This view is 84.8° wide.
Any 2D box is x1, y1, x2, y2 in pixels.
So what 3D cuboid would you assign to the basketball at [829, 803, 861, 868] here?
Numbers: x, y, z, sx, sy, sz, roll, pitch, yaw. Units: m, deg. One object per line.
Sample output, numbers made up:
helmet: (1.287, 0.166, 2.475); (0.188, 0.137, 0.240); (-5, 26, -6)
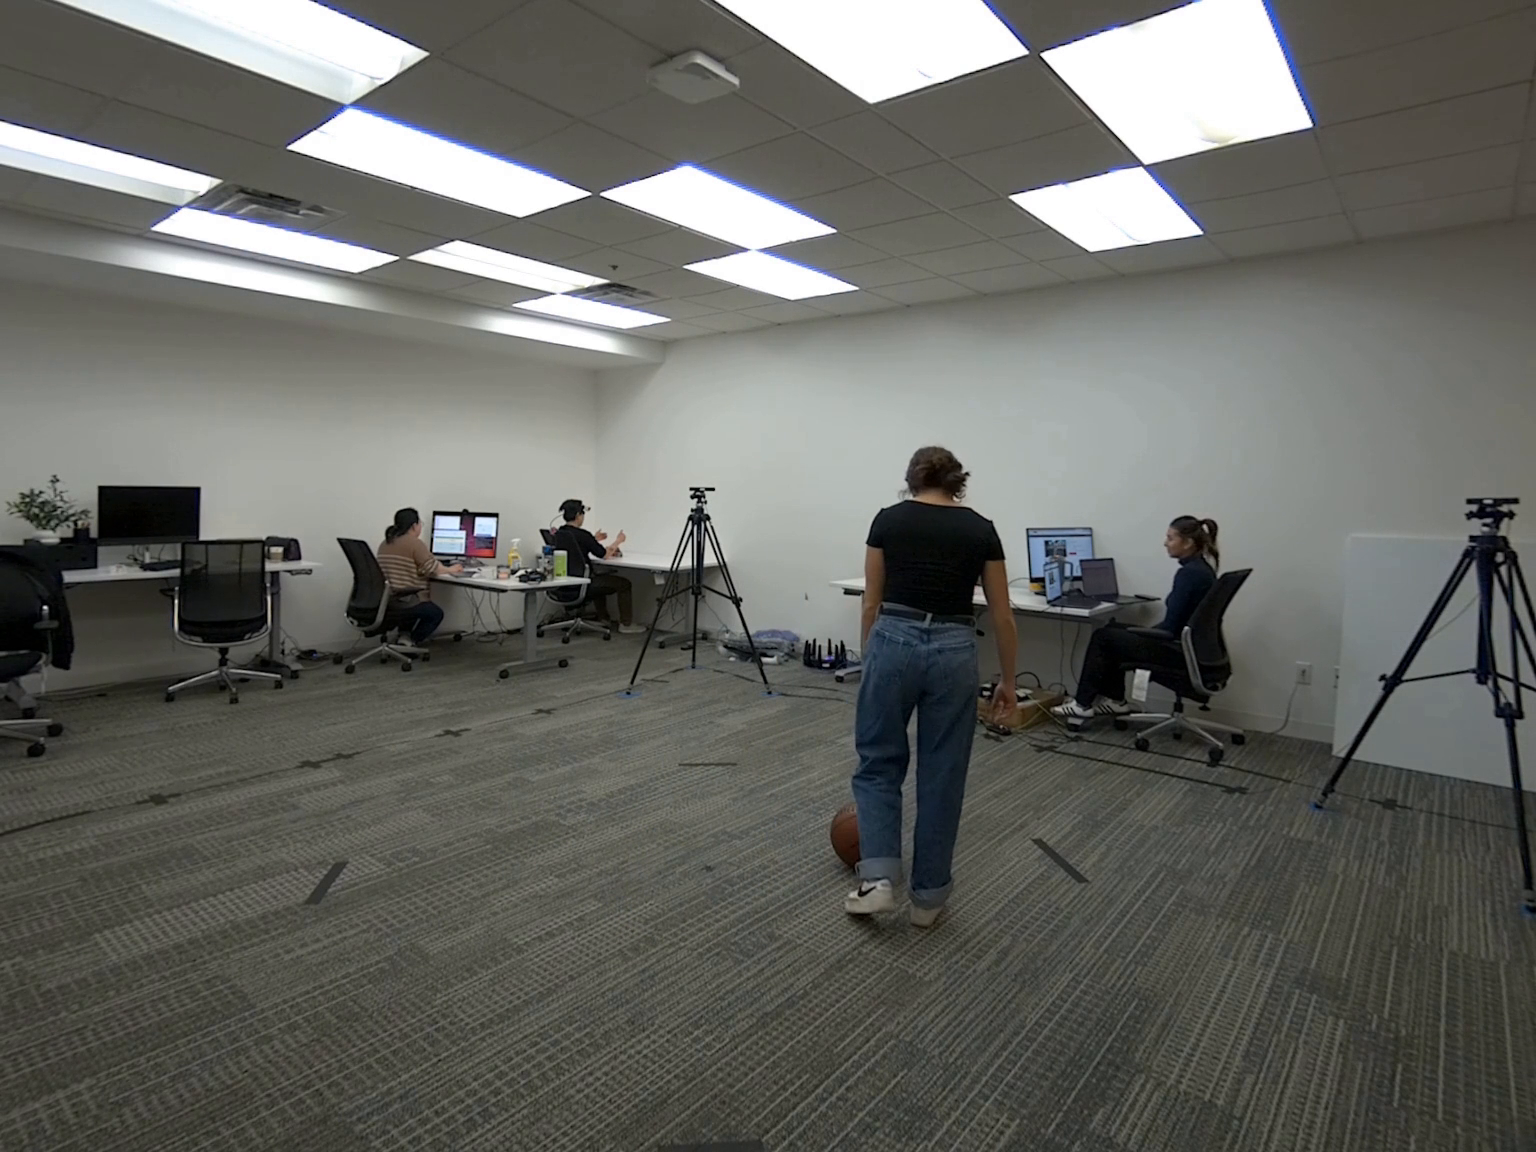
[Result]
basketball: (0.342, 0.950, 3.151); (0.235, 0.235, 0.237); (1, 4, -2)
